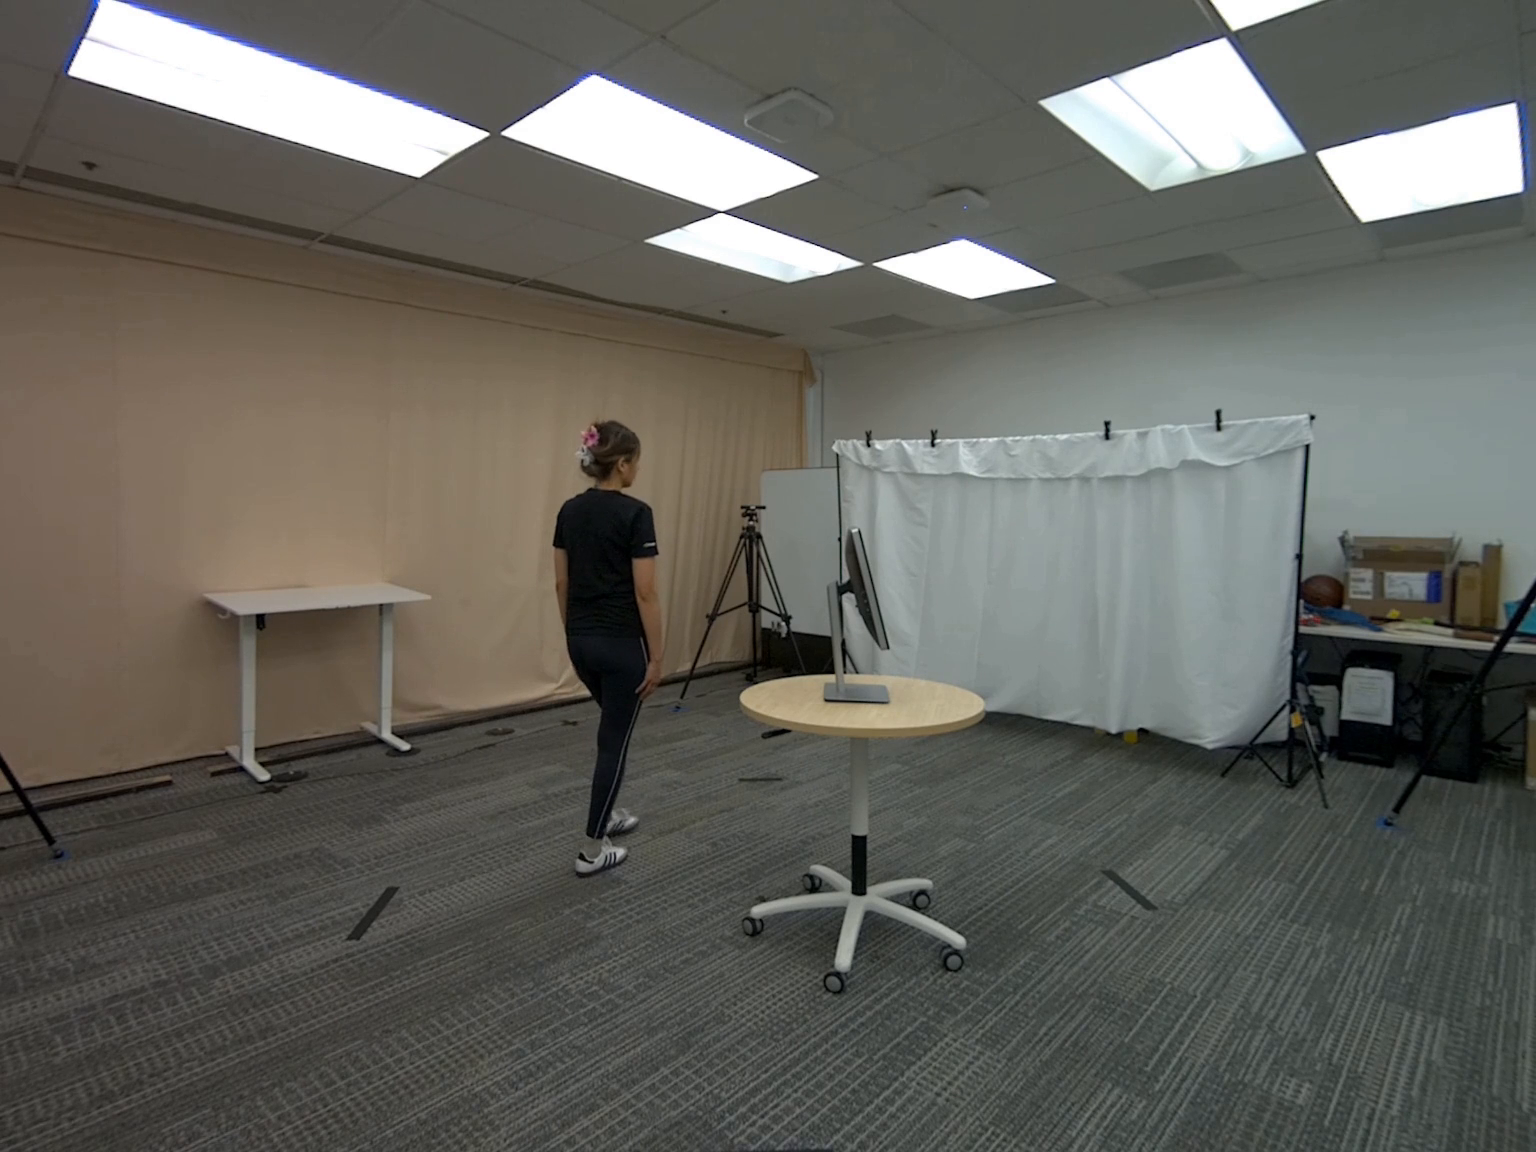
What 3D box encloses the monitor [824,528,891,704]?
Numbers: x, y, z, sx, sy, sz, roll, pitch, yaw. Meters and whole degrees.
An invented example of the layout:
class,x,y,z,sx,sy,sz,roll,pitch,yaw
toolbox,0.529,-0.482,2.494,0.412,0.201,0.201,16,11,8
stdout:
class,x,y,z,sx,sy,sz,roll,pitch,yaw
monitor,0.286,0.123,2.723,0.188,0.522,0.537,0,3,3
